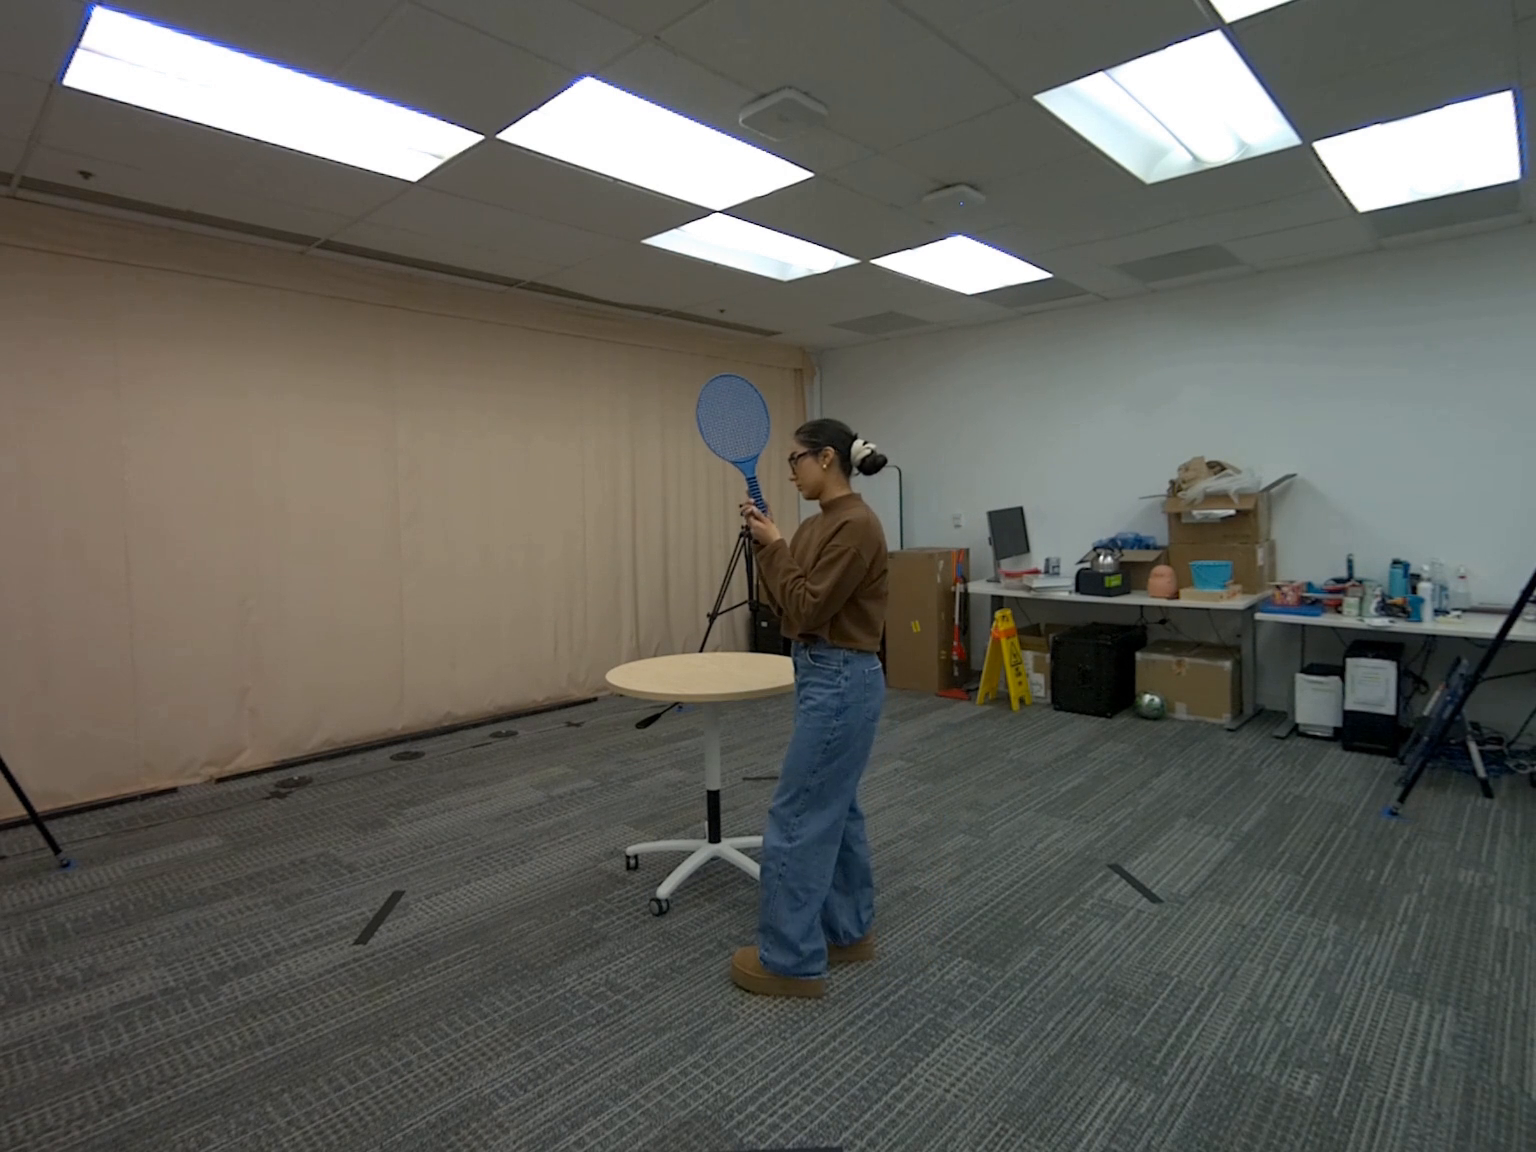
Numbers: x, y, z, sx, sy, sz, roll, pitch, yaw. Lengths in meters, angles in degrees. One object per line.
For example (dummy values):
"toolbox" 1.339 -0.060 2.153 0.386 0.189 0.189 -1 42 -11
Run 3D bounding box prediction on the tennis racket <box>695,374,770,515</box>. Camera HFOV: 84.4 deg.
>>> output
"tennis racket" -0.064 -0.389 2.453 0.213 0.434 0.032 -20 -4 -5
